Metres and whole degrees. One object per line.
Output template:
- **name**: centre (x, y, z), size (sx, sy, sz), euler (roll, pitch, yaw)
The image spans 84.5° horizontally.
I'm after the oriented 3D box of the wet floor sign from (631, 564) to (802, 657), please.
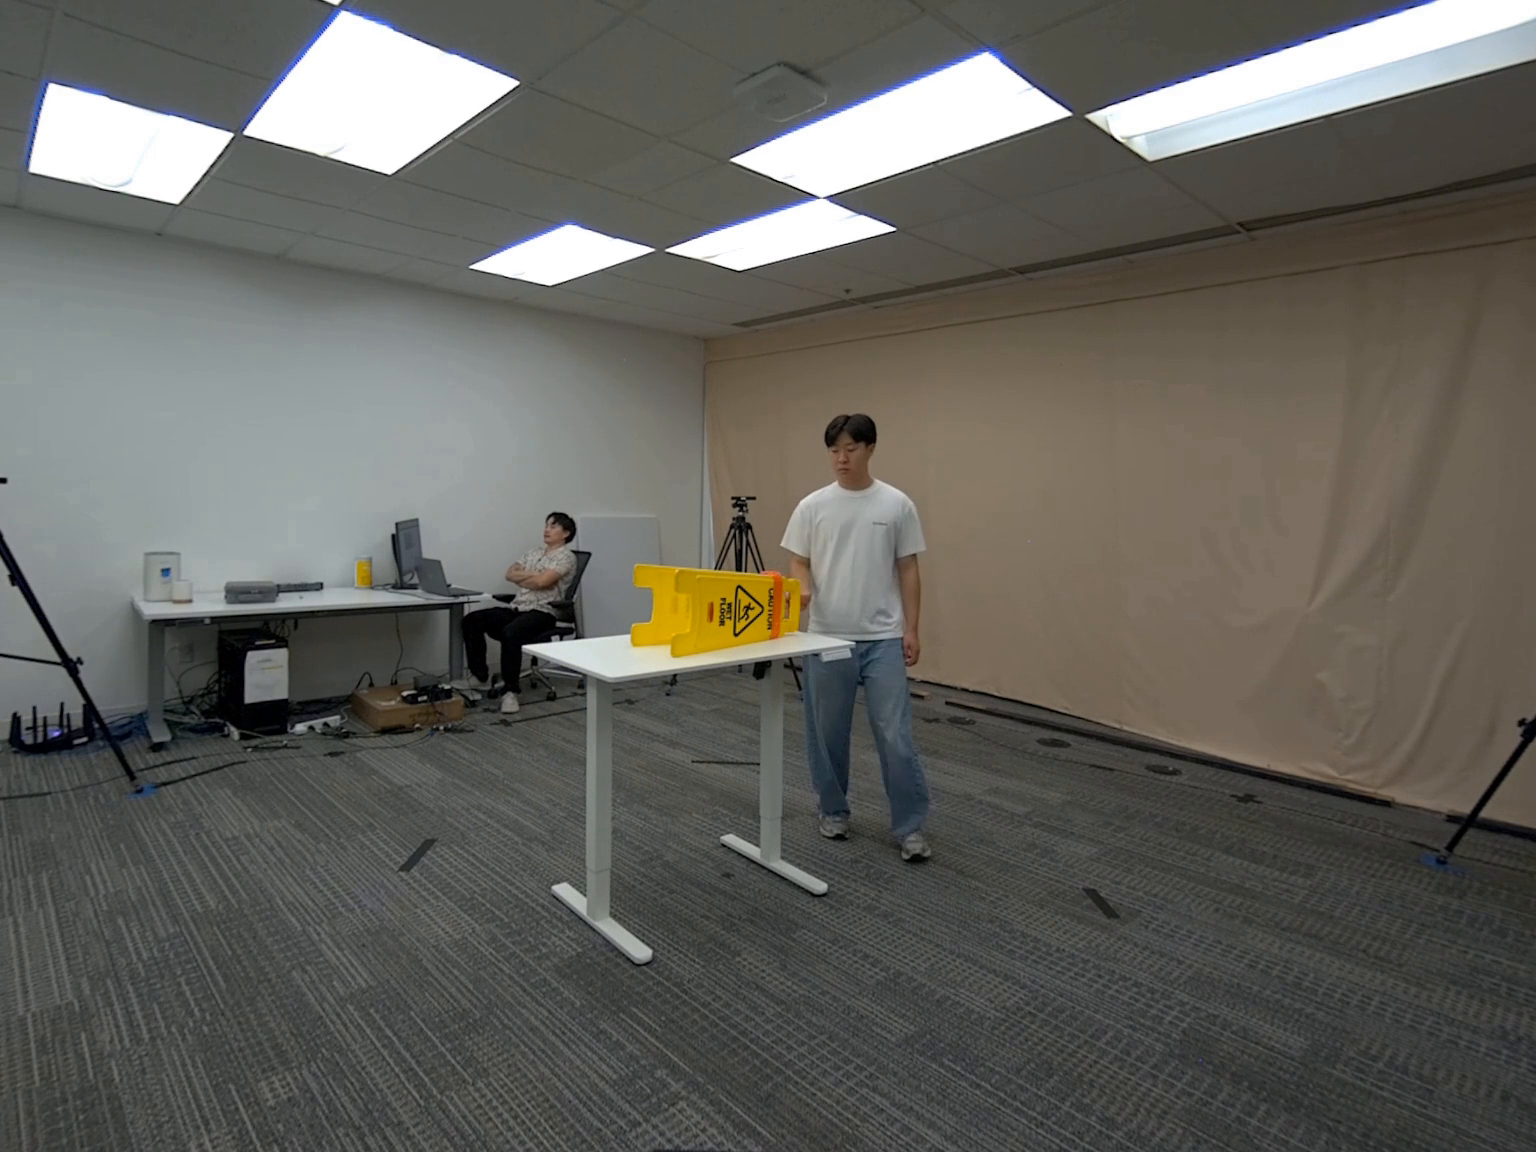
- **wet floor sign**: centre (-0.142, 0.112, 2.957), size (0.631, 0.282, 0.297), euler (0, 4, -40)
